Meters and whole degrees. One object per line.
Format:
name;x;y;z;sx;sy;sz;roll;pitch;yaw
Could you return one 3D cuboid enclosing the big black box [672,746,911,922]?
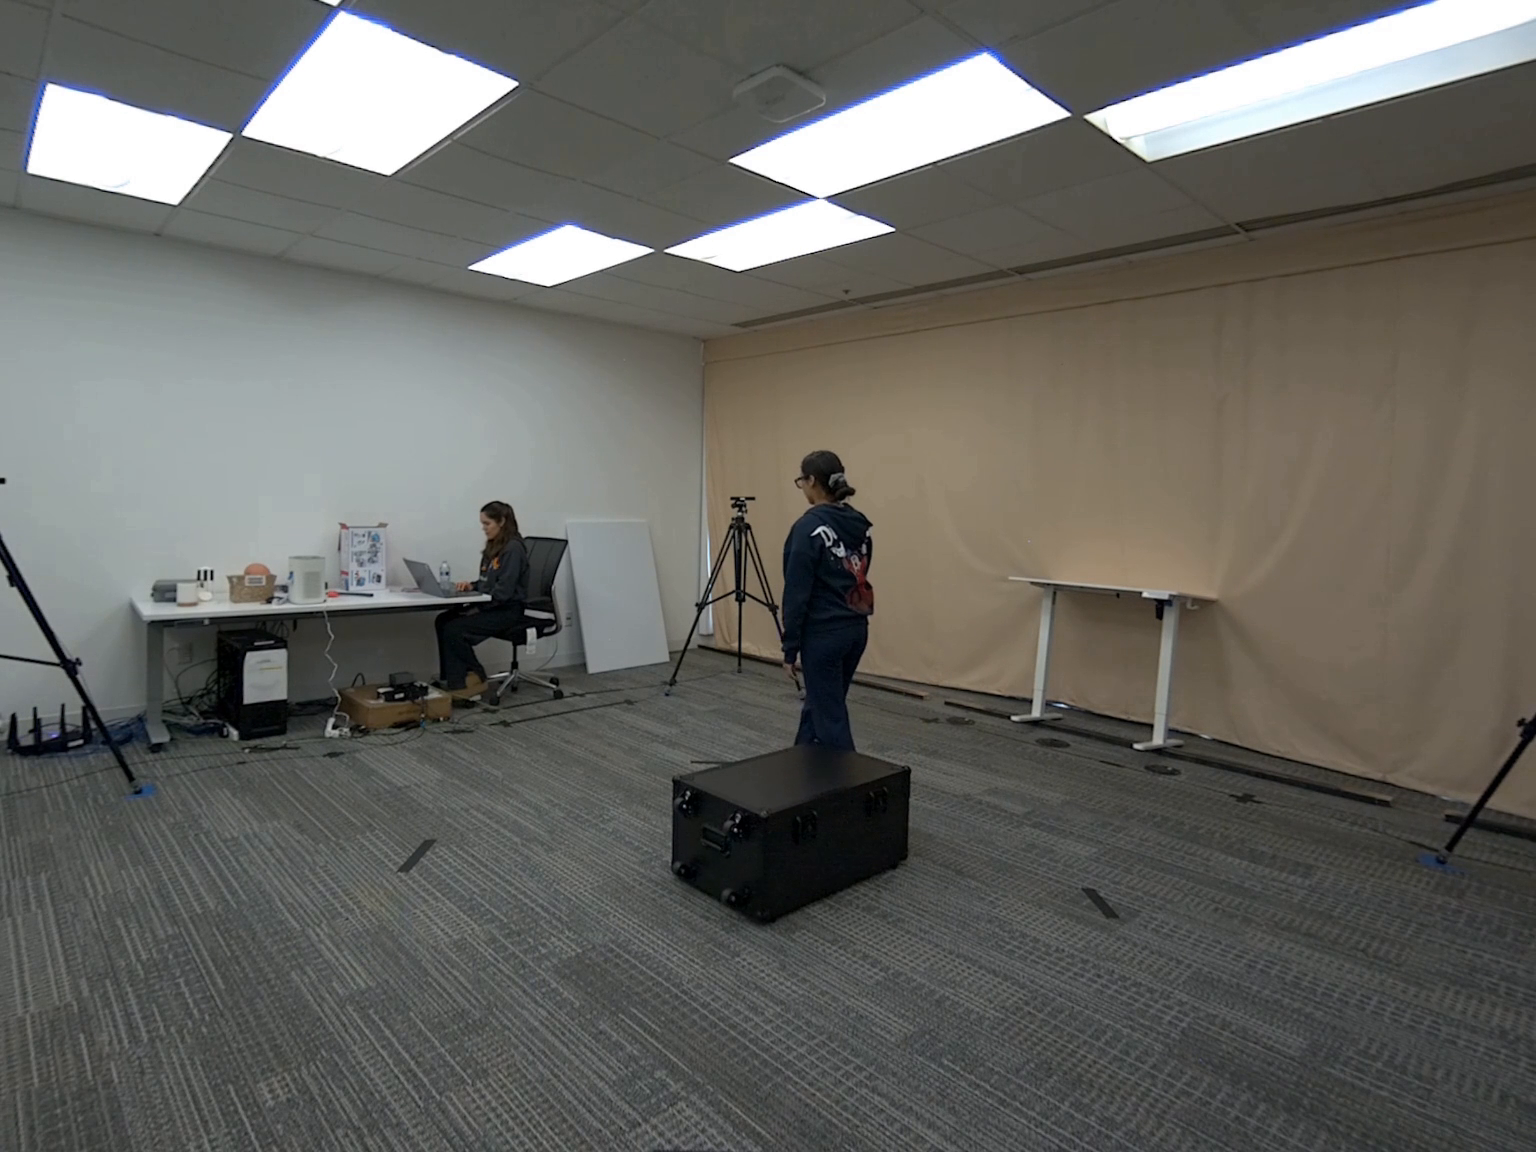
big black box;0.065;0.920;3.123;0.841;0.395;0.534;-2;5;-44
